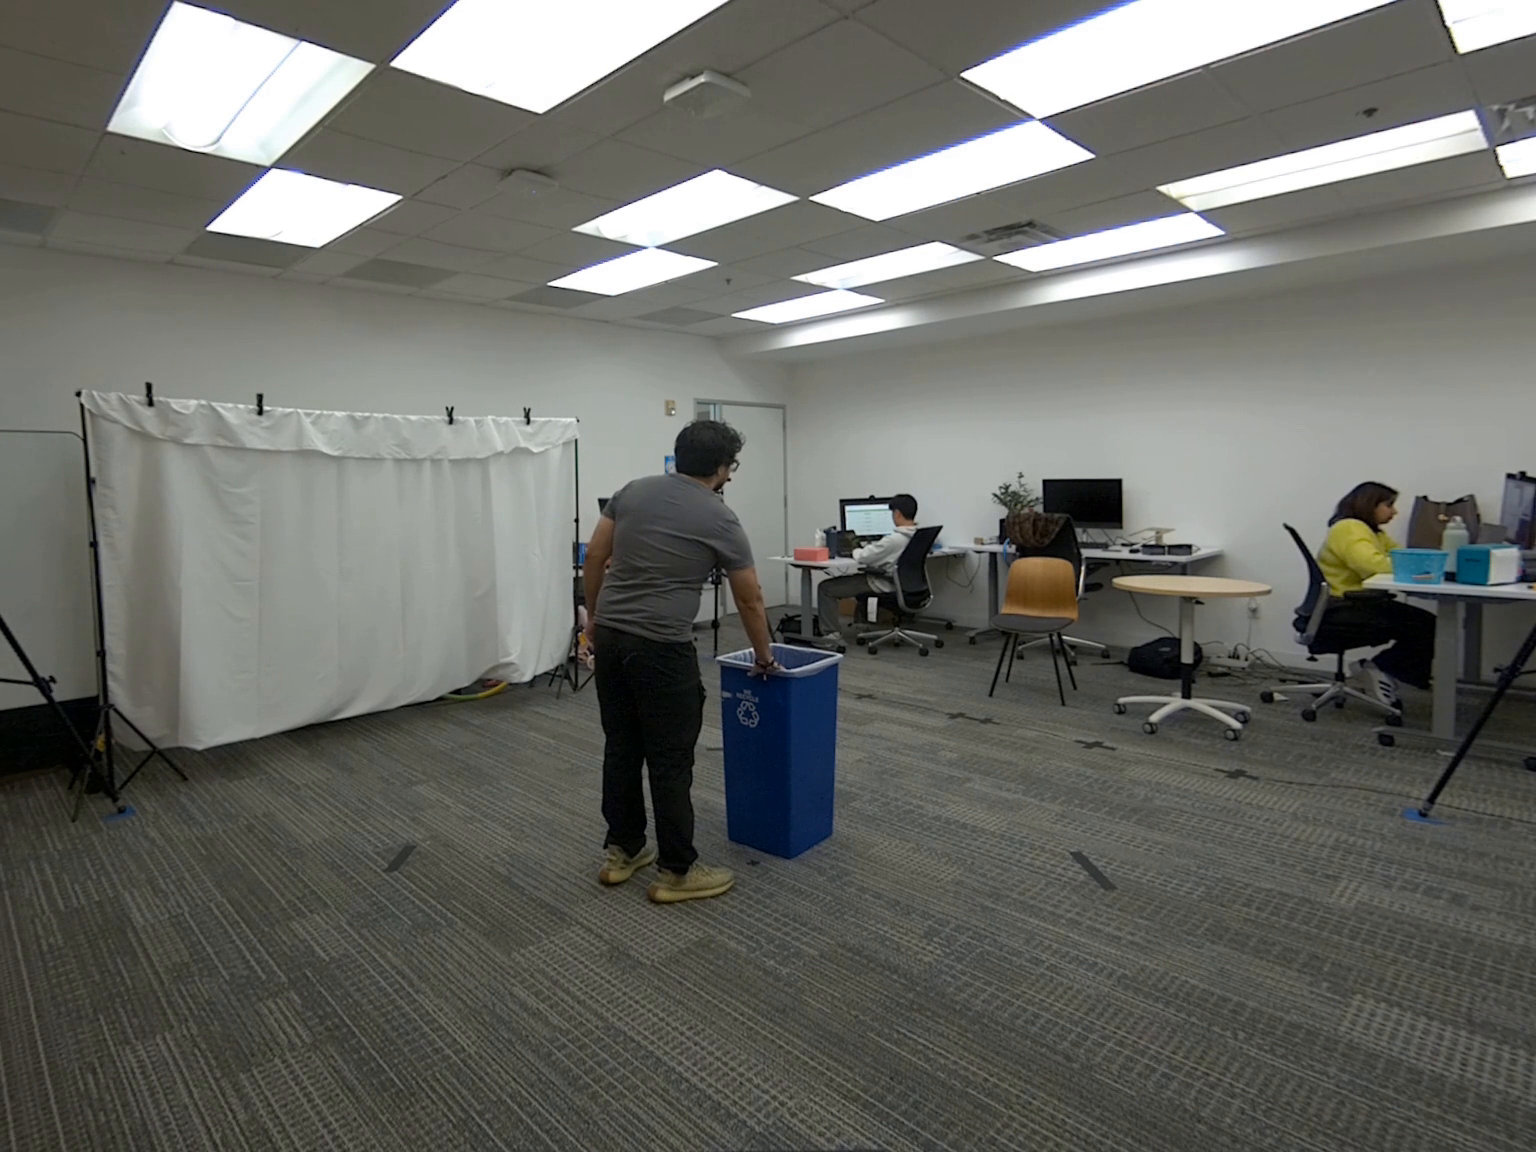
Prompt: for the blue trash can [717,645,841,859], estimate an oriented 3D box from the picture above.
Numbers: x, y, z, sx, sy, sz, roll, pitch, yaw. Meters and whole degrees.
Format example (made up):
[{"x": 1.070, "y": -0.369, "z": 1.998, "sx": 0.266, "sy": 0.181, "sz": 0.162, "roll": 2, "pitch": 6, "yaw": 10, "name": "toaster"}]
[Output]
[{"x": 0.057, "y": 0.659, "z": 3.304, "sx": 0.385, "sy": 0.711, "sz": 0.368, "roll": 3, "pitch": 5, "yaw": 39, "name": "blue trash can"}]
